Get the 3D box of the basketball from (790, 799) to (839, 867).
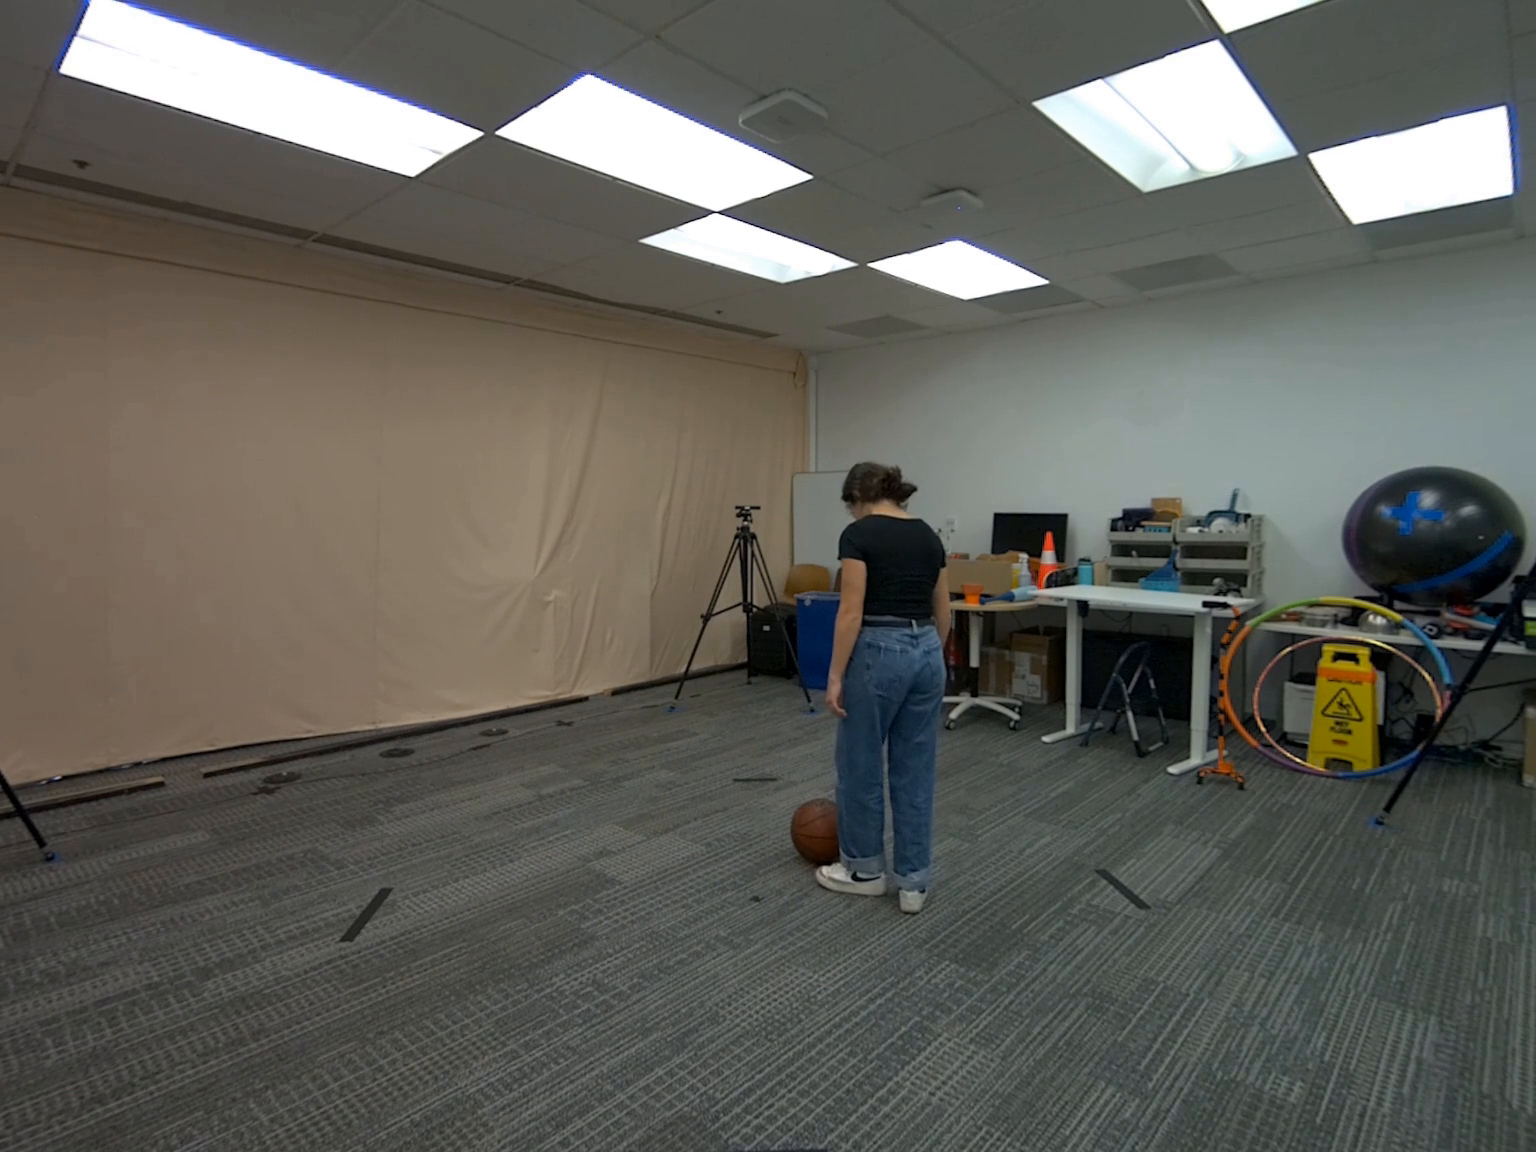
[{"bbox_3d":[0.208,0.996,3.296,0.236,0.235,0.237,0,4,-2],"label":"basketball"}]
